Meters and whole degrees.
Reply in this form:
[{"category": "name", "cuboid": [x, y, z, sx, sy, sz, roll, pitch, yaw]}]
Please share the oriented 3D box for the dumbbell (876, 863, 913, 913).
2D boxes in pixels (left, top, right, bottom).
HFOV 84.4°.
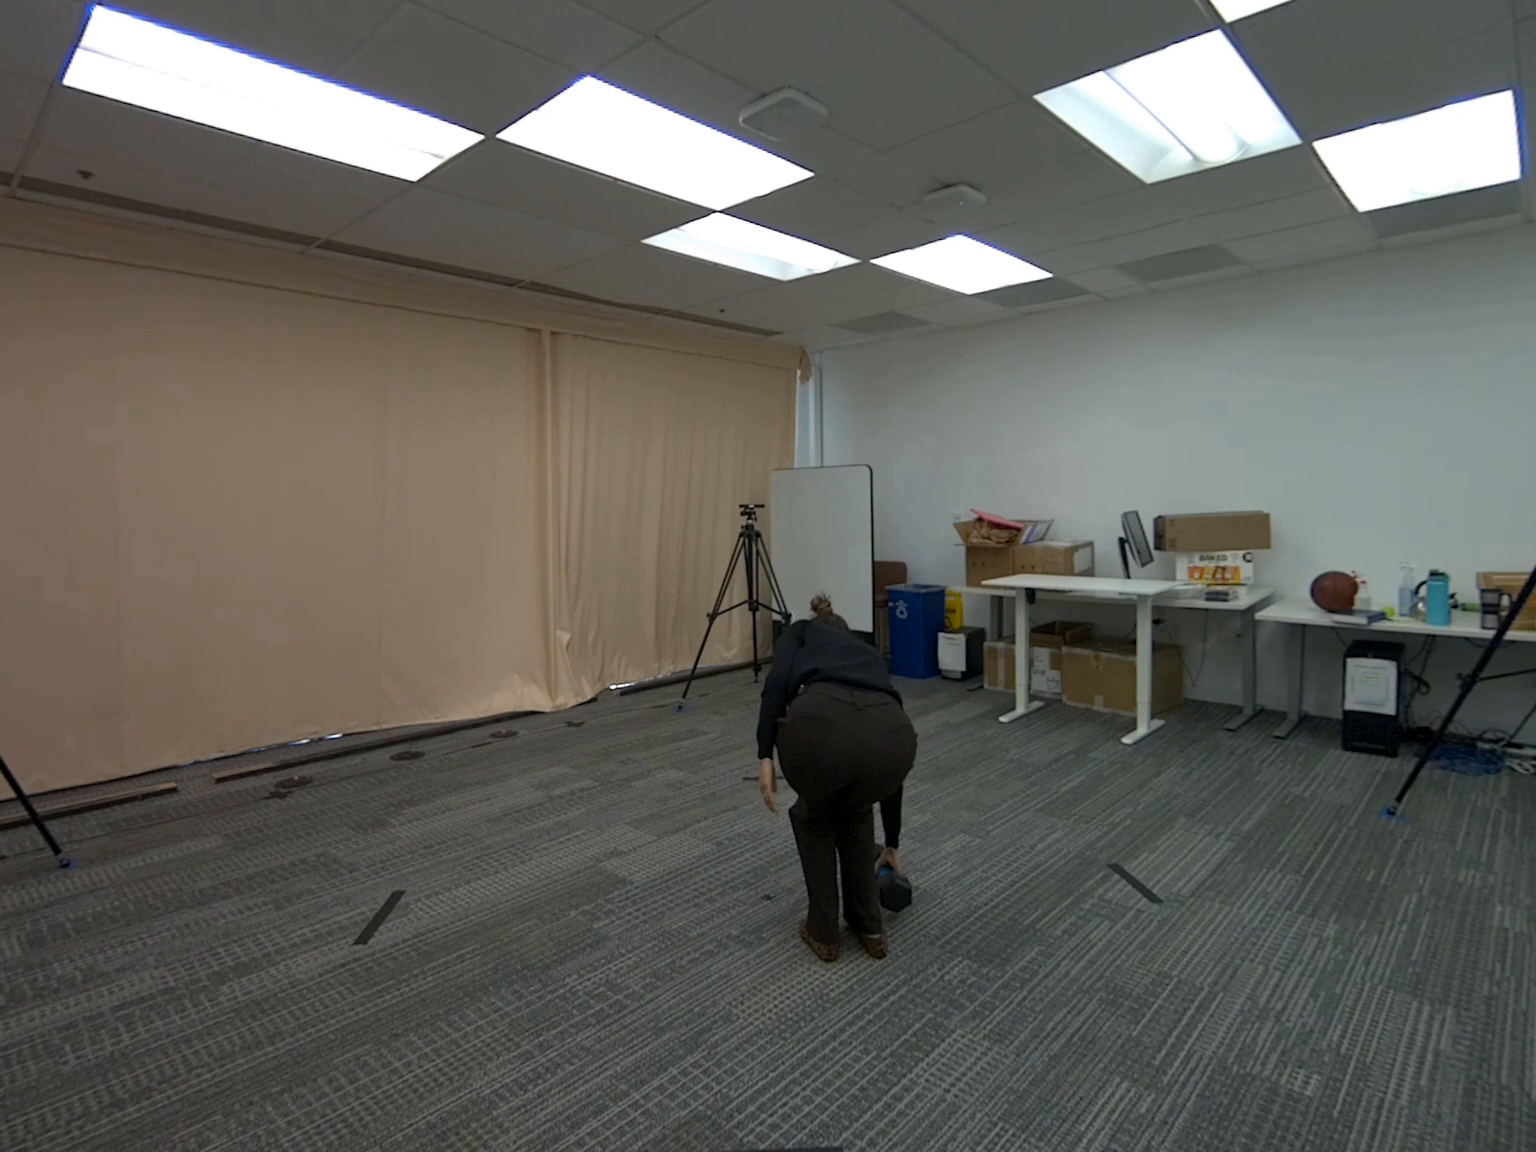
[{"category": "dumbbell", "cuboid": [0.417, 1.040, 2.910, 0.123, 0.108, 0.295, -35, 6, -2]}]
